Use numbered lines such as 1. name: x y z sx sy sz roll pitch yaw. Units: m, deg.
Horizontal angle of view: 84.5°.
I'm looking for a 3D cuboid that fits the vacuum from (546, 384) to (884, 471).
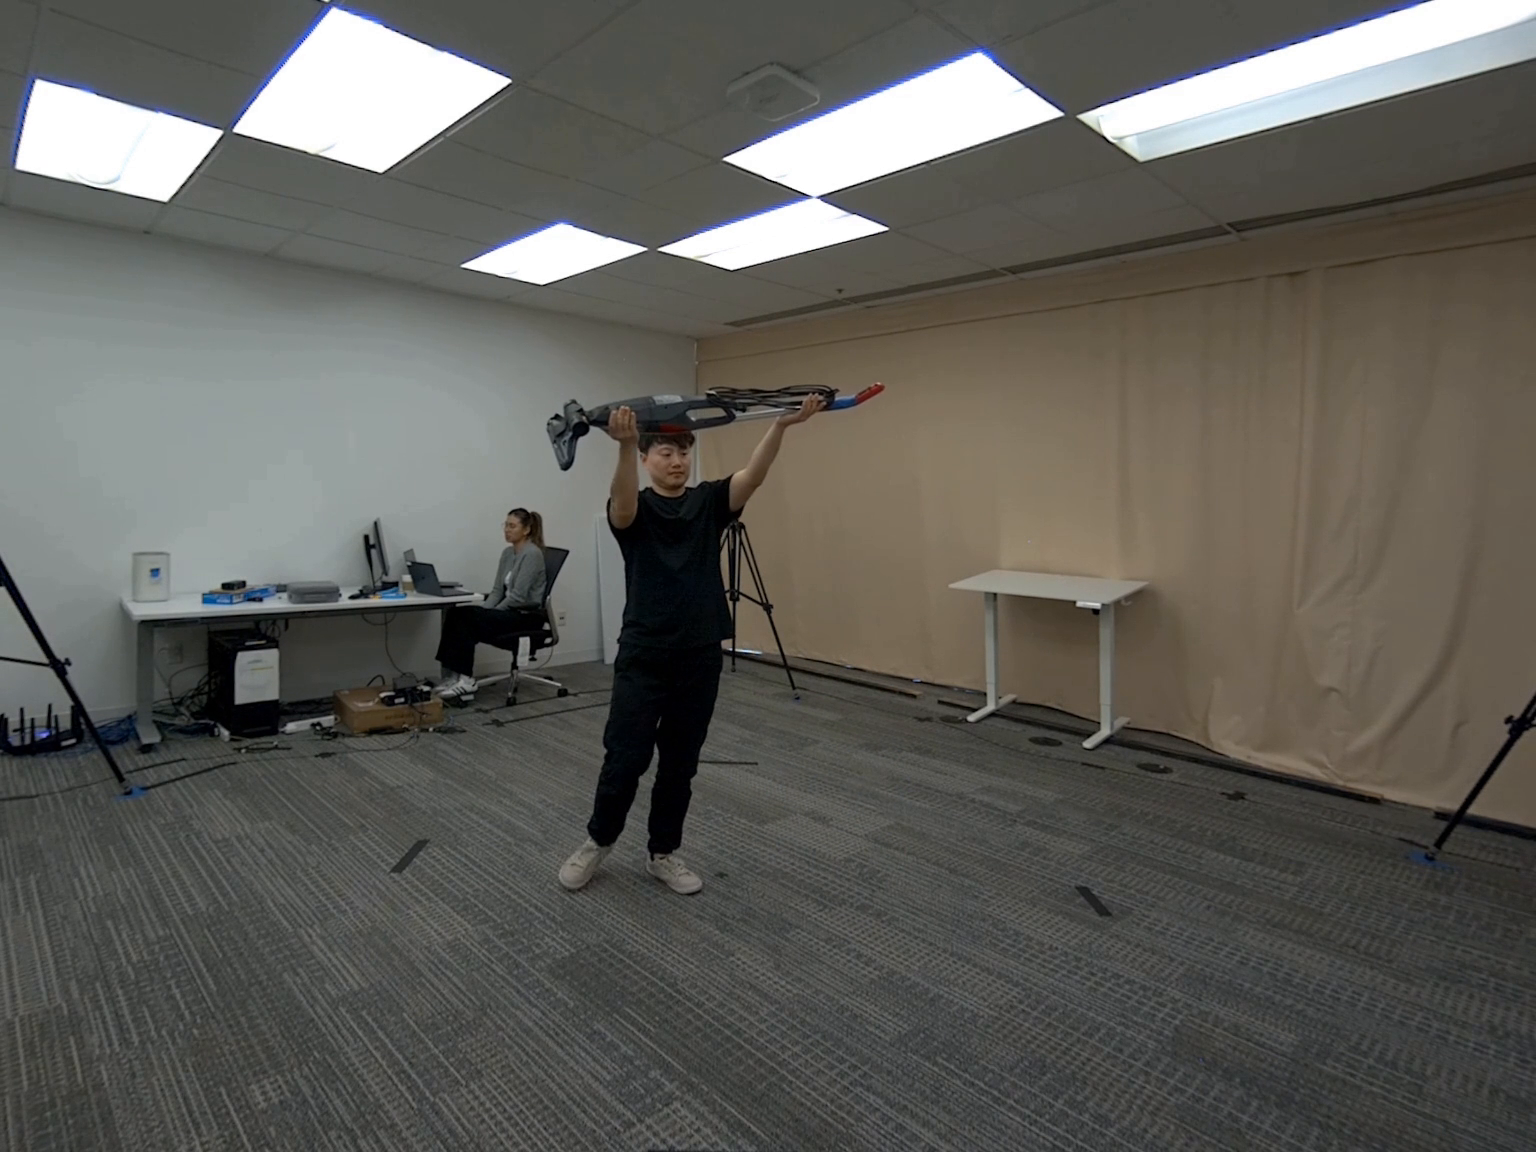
1. vacuum: -0.127 -0.527 2.612 1.040 0.141 0.260 -13 40 -15
